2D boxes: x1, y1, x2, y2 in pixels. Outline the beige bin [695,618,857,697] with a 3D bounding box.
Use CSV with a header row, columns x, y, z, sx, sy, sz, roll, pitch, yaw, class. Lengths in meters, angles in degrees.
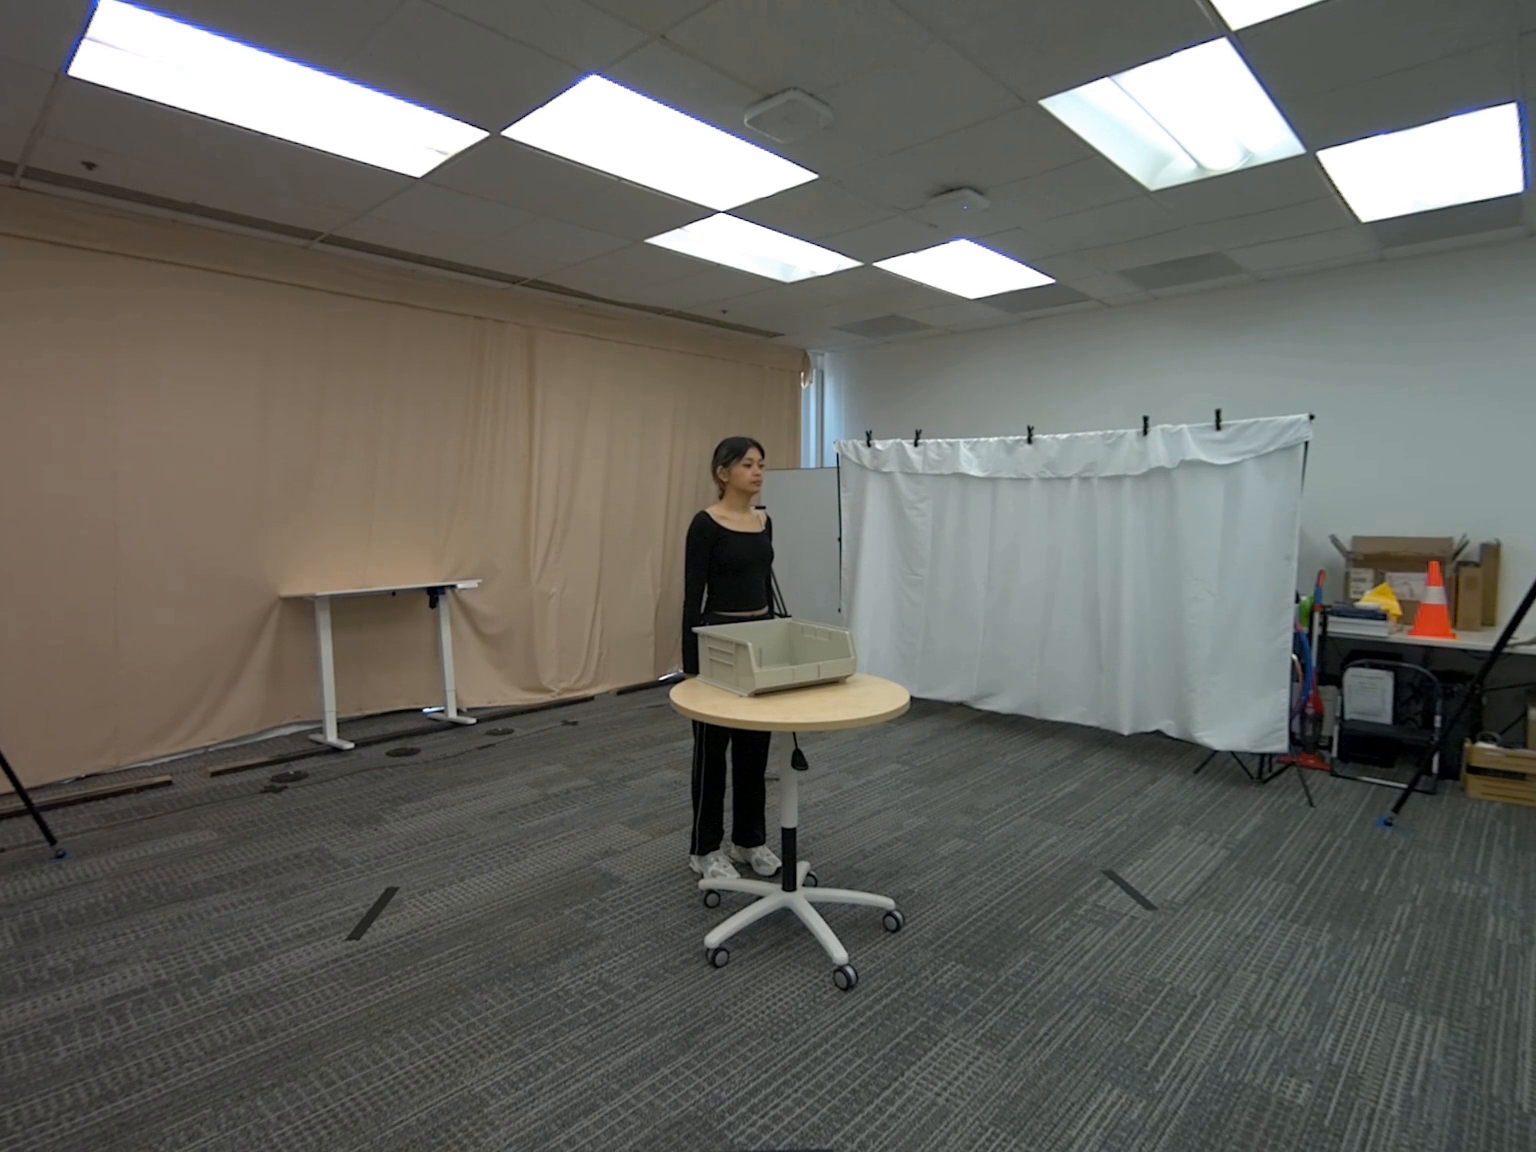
x,y,z,sx,sy,sz,roll,pitch,yaw,class
0.025,0.270,2.852,0.410,0.188,0.389,-4,5,-34,beige bin
